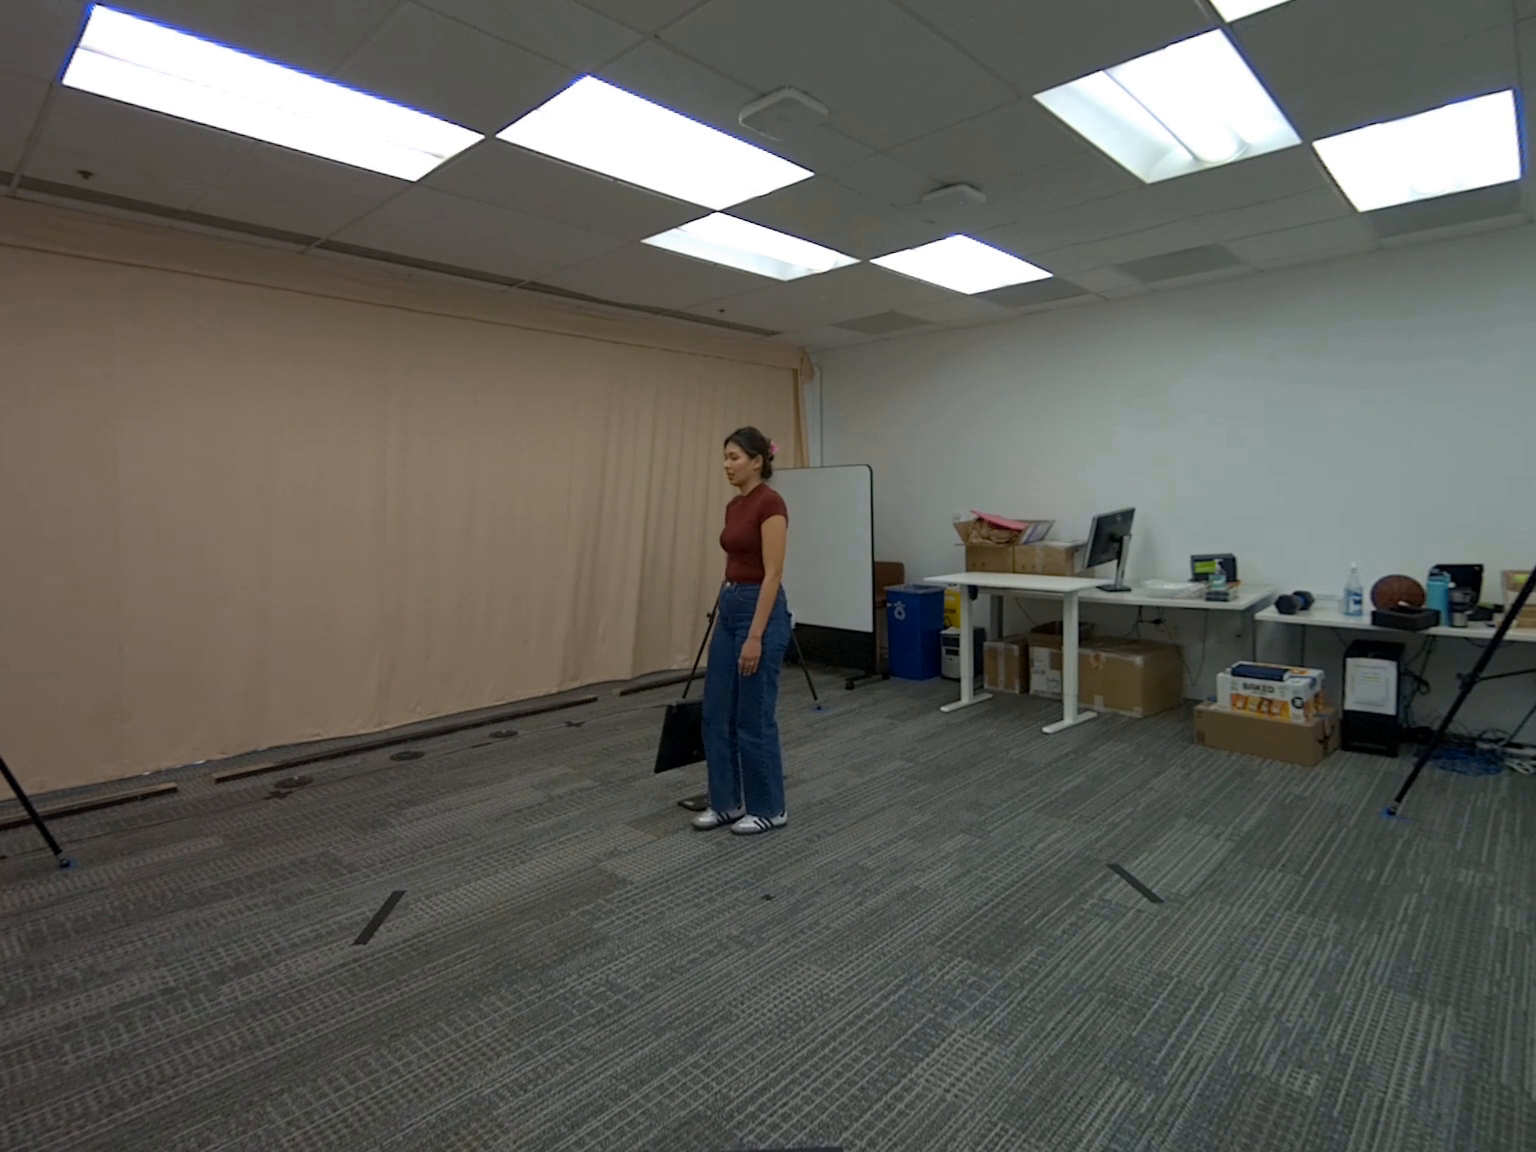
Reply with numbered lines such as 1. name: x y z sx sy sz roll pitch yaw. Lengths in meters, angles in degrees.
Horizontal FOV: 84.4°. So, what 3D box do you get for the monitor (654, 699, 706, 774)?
1. monitor: -0.276 0.811 3.946 0.523 0.521 0.193 -4 8 -44
